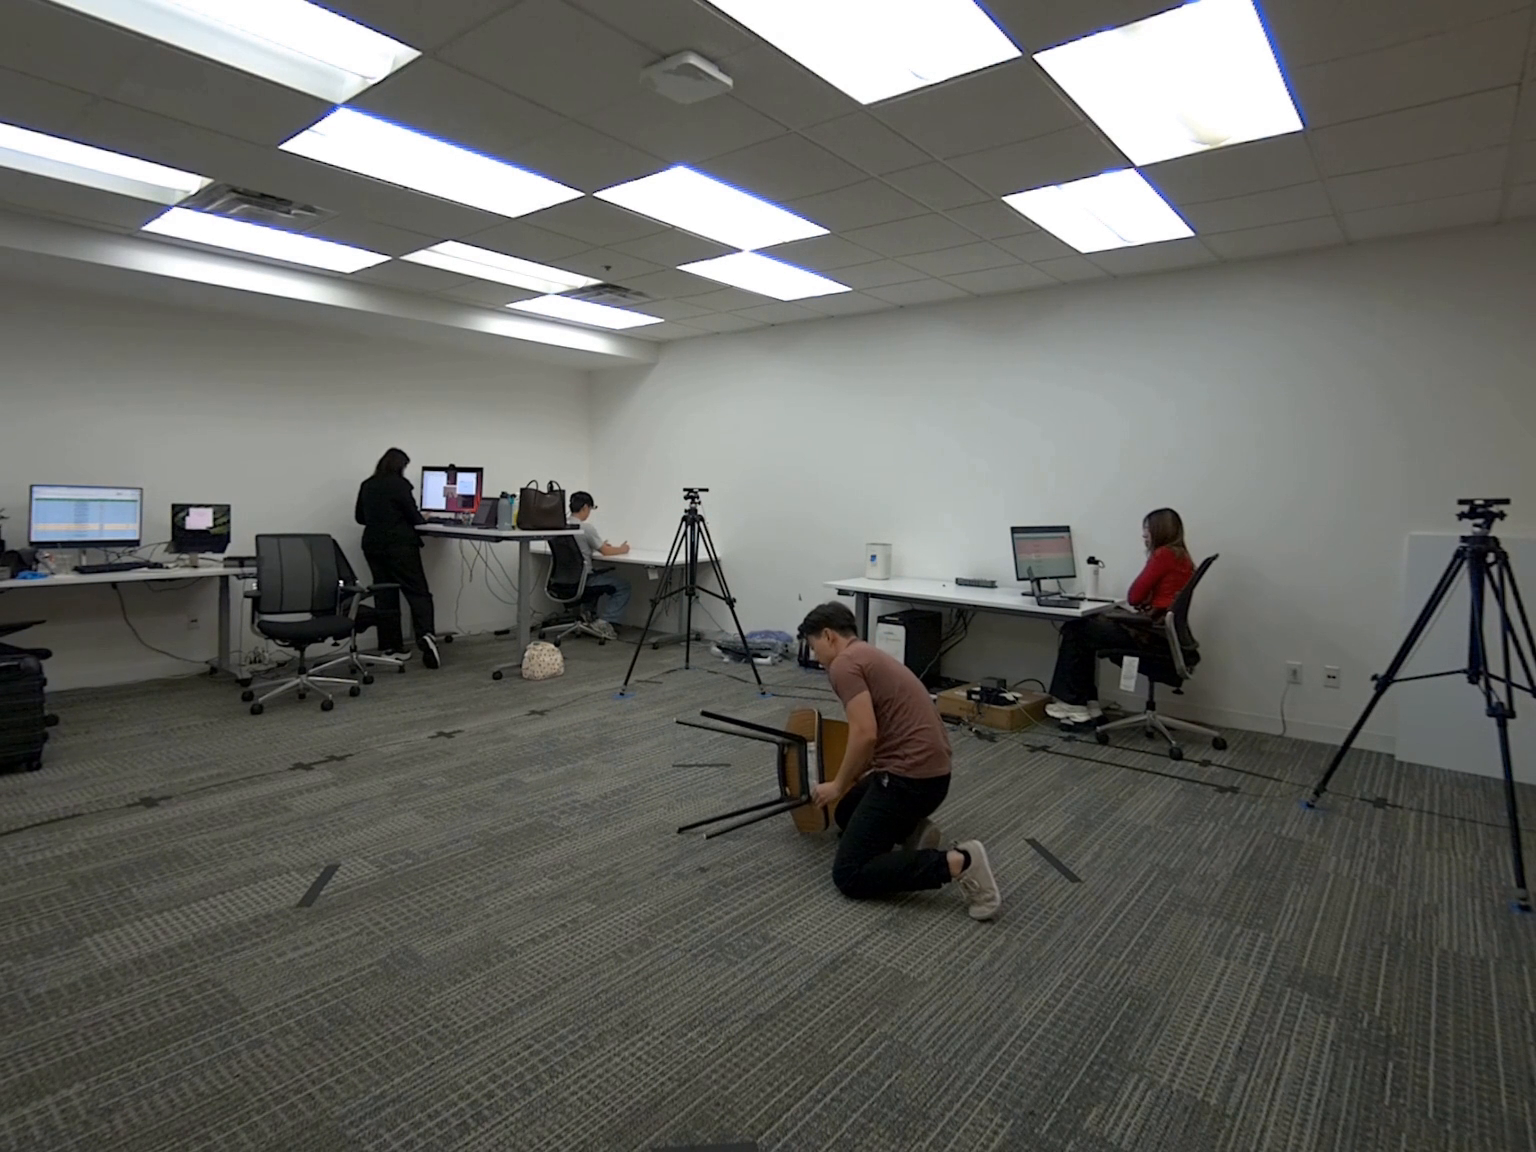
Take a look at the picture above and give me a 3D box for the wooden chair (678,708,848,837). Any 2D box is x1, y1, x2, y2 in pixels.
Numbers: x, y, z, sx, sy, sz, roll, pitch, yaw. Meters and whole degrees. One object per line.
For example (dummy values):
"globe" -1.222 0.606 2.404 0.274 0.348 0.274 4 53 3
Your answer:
"wooden chair" 0.085 0.779 3.407 0.859 0.485 0.526 2 -15 -21
